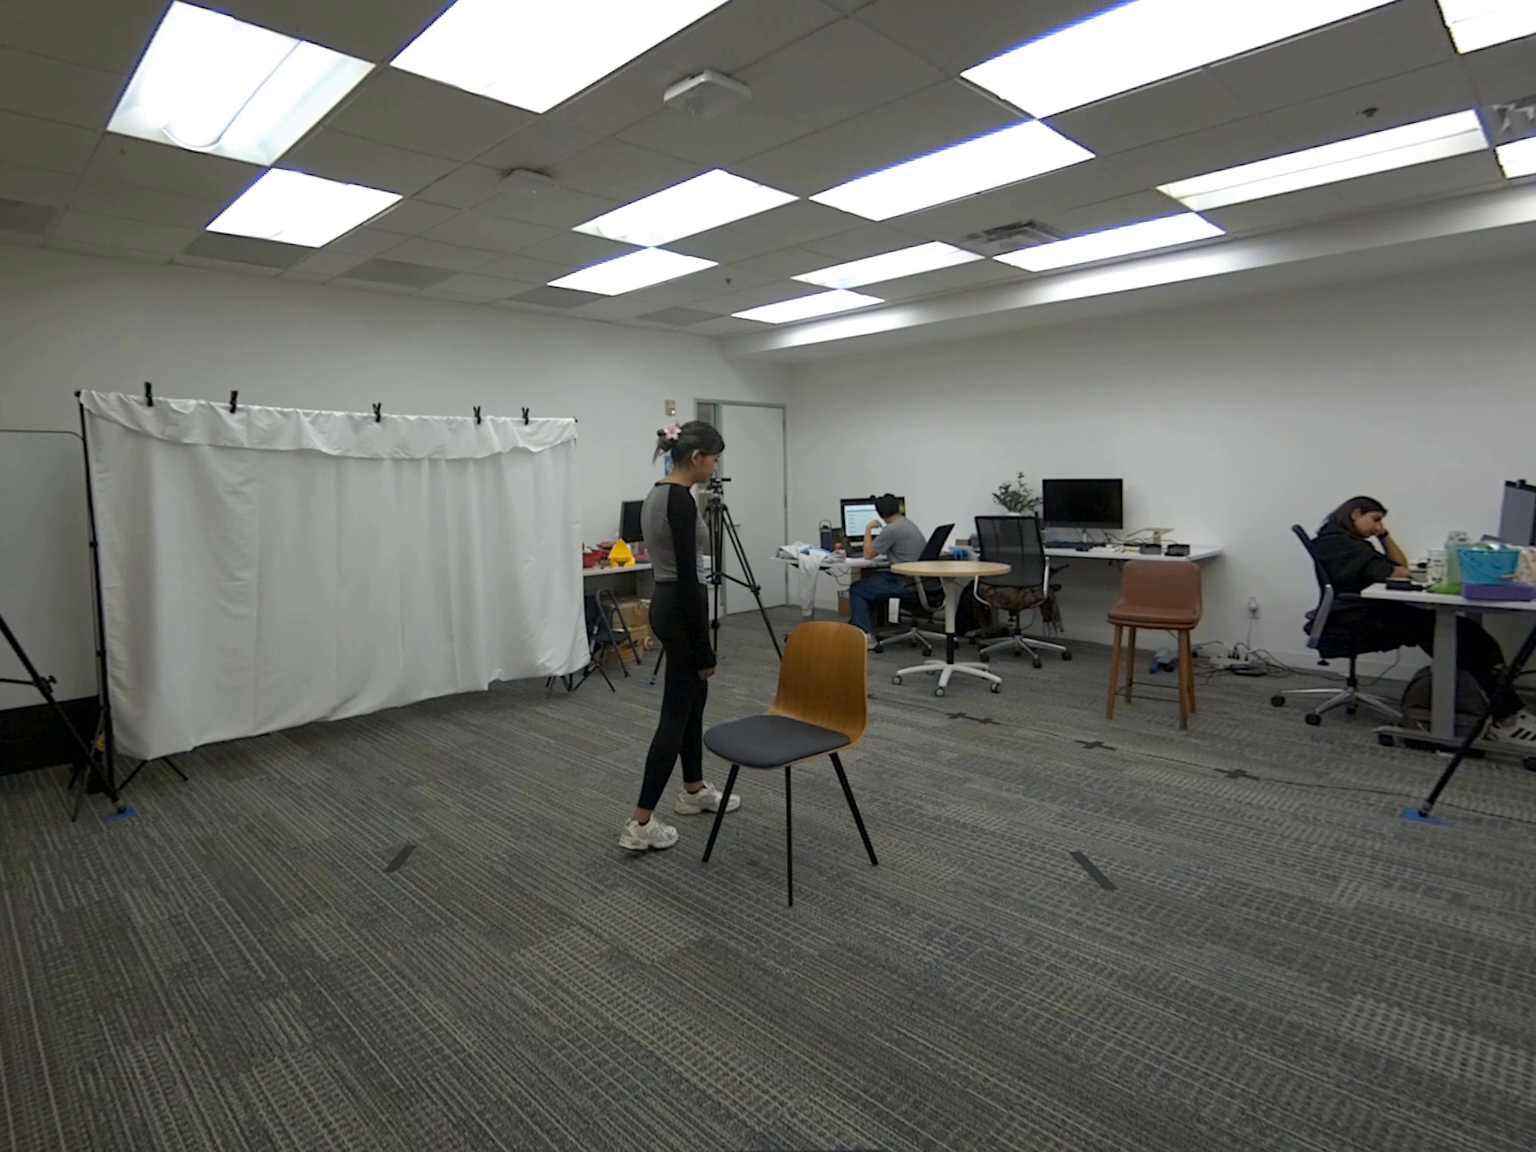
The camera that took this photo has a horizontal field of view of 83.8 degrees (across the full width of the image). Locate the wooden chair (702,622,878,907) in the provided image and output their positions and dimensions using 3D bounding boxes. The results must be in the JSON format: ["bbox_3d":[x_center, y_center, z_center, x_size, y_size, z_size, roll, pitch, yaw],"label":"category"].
[{"bbox_3d":[0.072,0.618,3.052,0.508,0.876,0.493,1,2,-43],"label":"wooden chair"}]
